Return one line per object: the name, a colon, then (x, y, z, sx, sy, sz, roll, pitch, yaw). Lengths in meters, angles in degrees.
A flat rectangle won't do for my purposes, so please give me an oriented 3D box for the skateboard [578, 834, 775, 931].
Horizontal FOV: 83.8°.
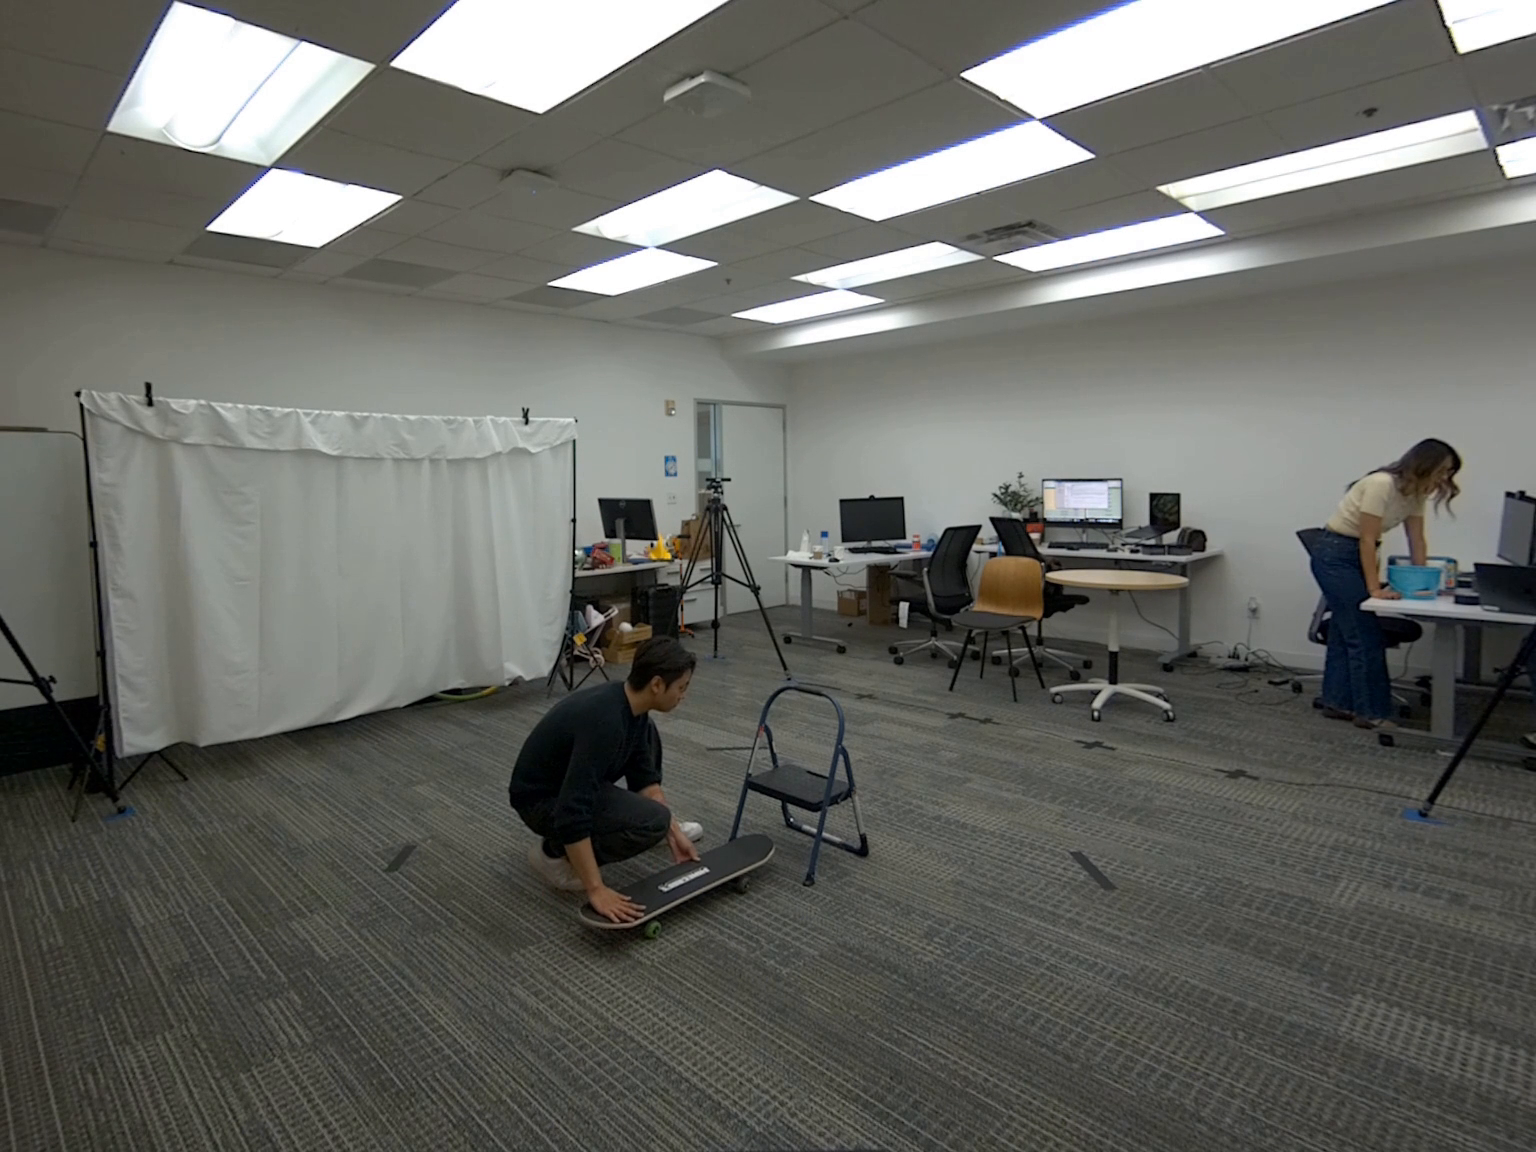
skateboard: (-0.273, 1.020, 2.817, 0.199, 0.110, 0.765, 5, 9, 44)
